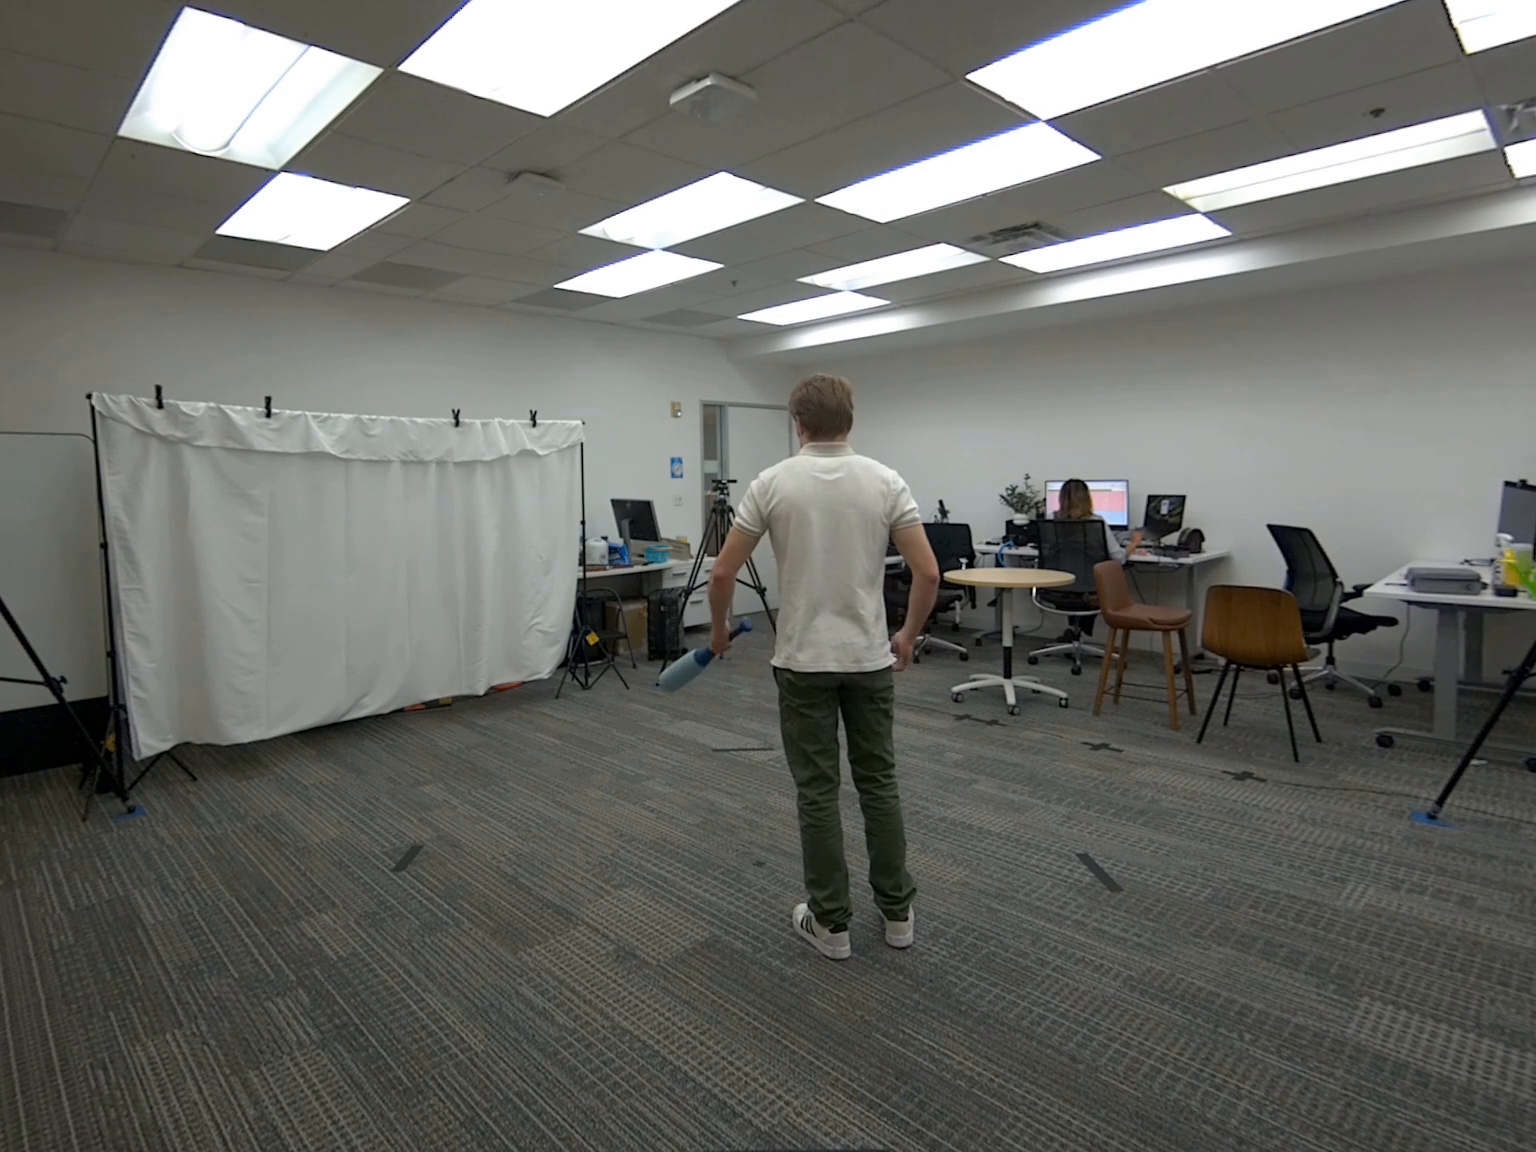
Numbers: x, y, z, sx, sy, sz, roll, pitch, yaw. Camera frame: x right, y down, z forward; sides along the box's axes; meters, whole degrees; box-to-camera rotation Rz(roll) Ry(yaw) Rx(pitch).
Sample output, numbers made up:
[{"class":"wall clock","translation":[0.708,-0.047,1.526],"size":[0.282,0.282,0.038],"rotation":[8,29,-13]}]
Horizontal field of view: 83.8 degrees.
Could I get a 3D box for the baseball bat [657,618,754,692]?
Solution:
[{"class":"baseball bat","translation":[-0.200,0.287,2.935],"size":[0.087,0.091,0.546],"rotation":[-5,-23,-41]}]
